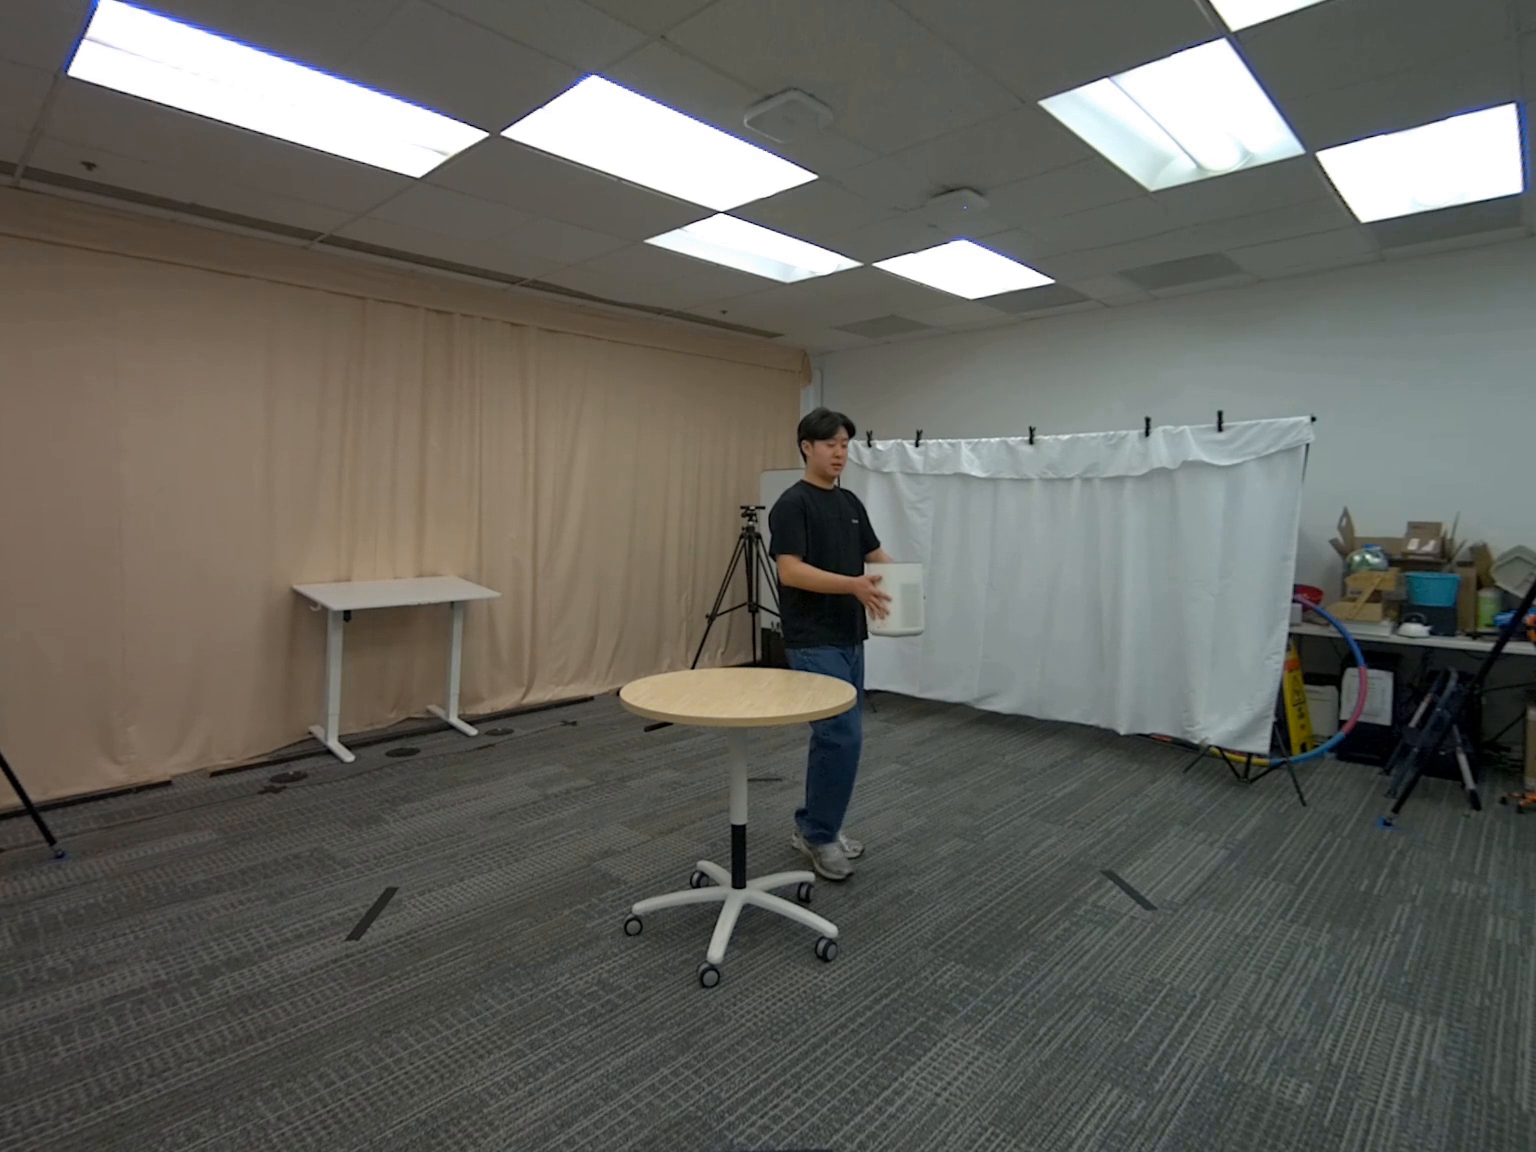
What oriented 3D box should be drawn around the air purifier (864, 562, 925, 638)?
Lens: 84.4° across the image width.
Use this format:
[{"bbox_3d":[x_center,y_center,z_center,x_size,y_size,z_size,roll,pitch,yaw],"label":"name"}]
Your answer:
[{"bbox_3d":[0.458,0.085,3.046,0.167,0.266,0.175,0,-2,-30],"label":"air purifier"}]
